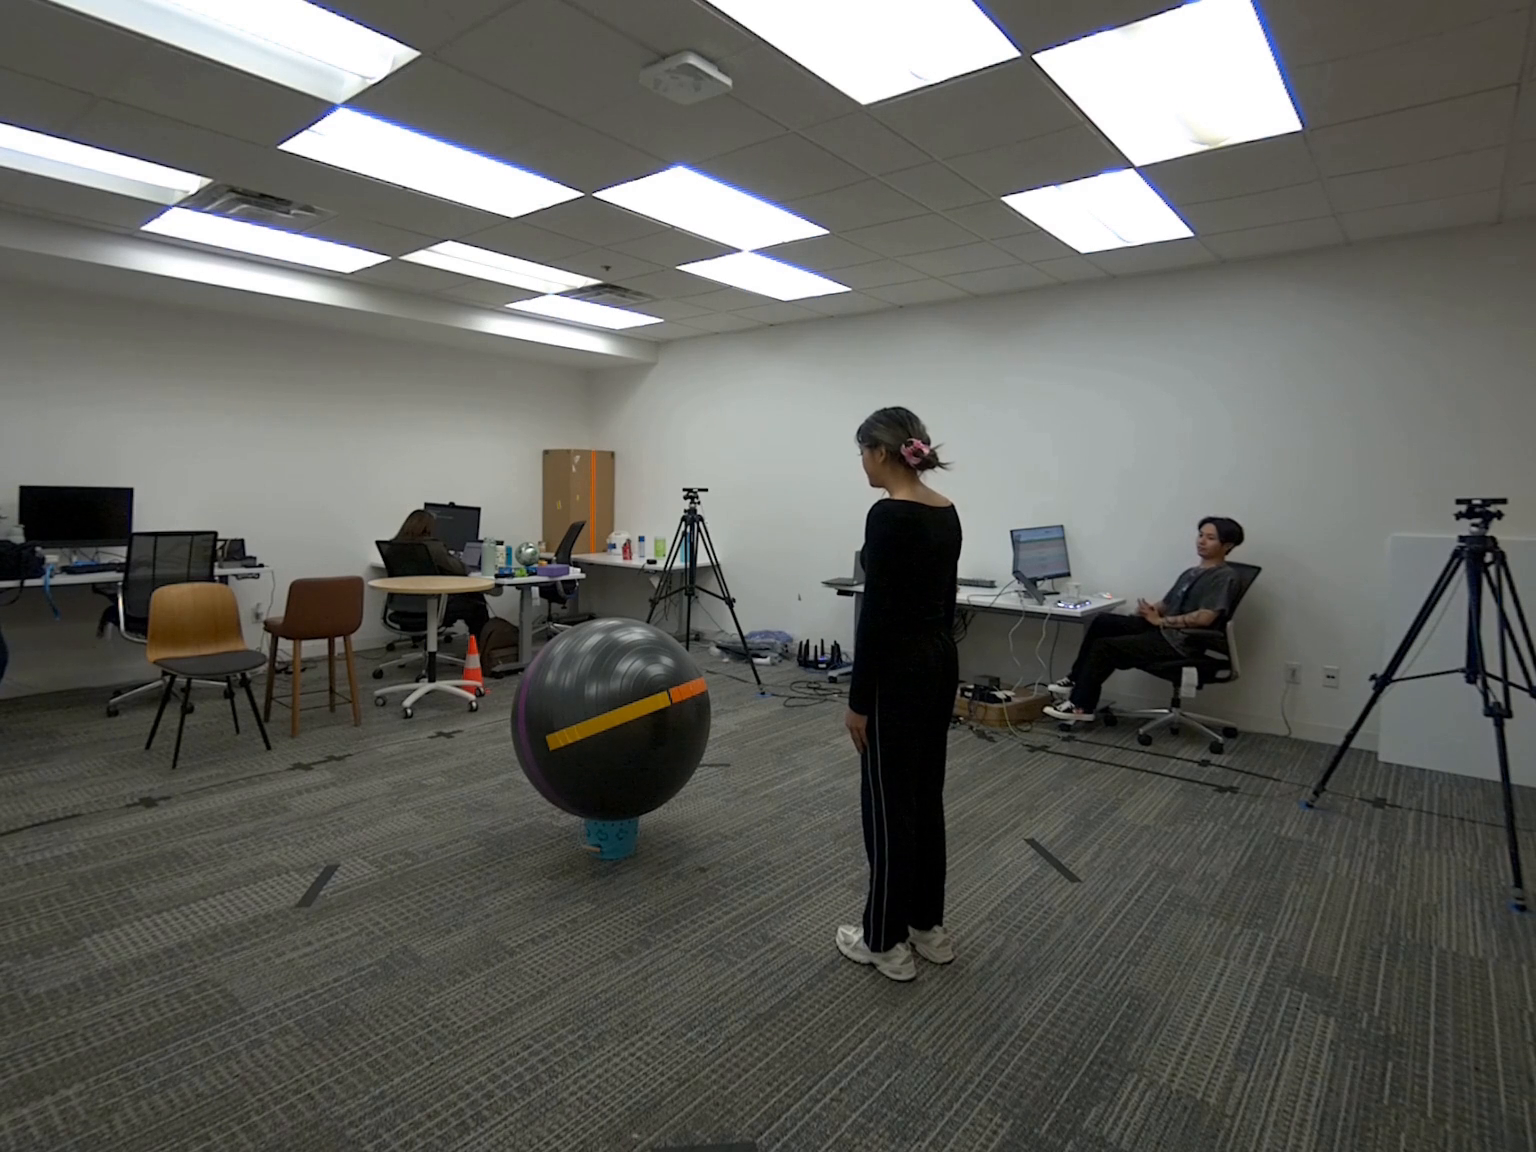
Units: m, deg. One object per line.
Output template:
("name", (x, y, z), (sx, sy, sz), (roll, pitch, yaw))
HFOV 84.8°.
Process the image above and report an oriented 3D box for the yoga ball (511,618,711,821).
("yoga ball", (-0.608, 0.538, 3.252), (0.757, 0.755, 0.762), (1, 4, -2))
